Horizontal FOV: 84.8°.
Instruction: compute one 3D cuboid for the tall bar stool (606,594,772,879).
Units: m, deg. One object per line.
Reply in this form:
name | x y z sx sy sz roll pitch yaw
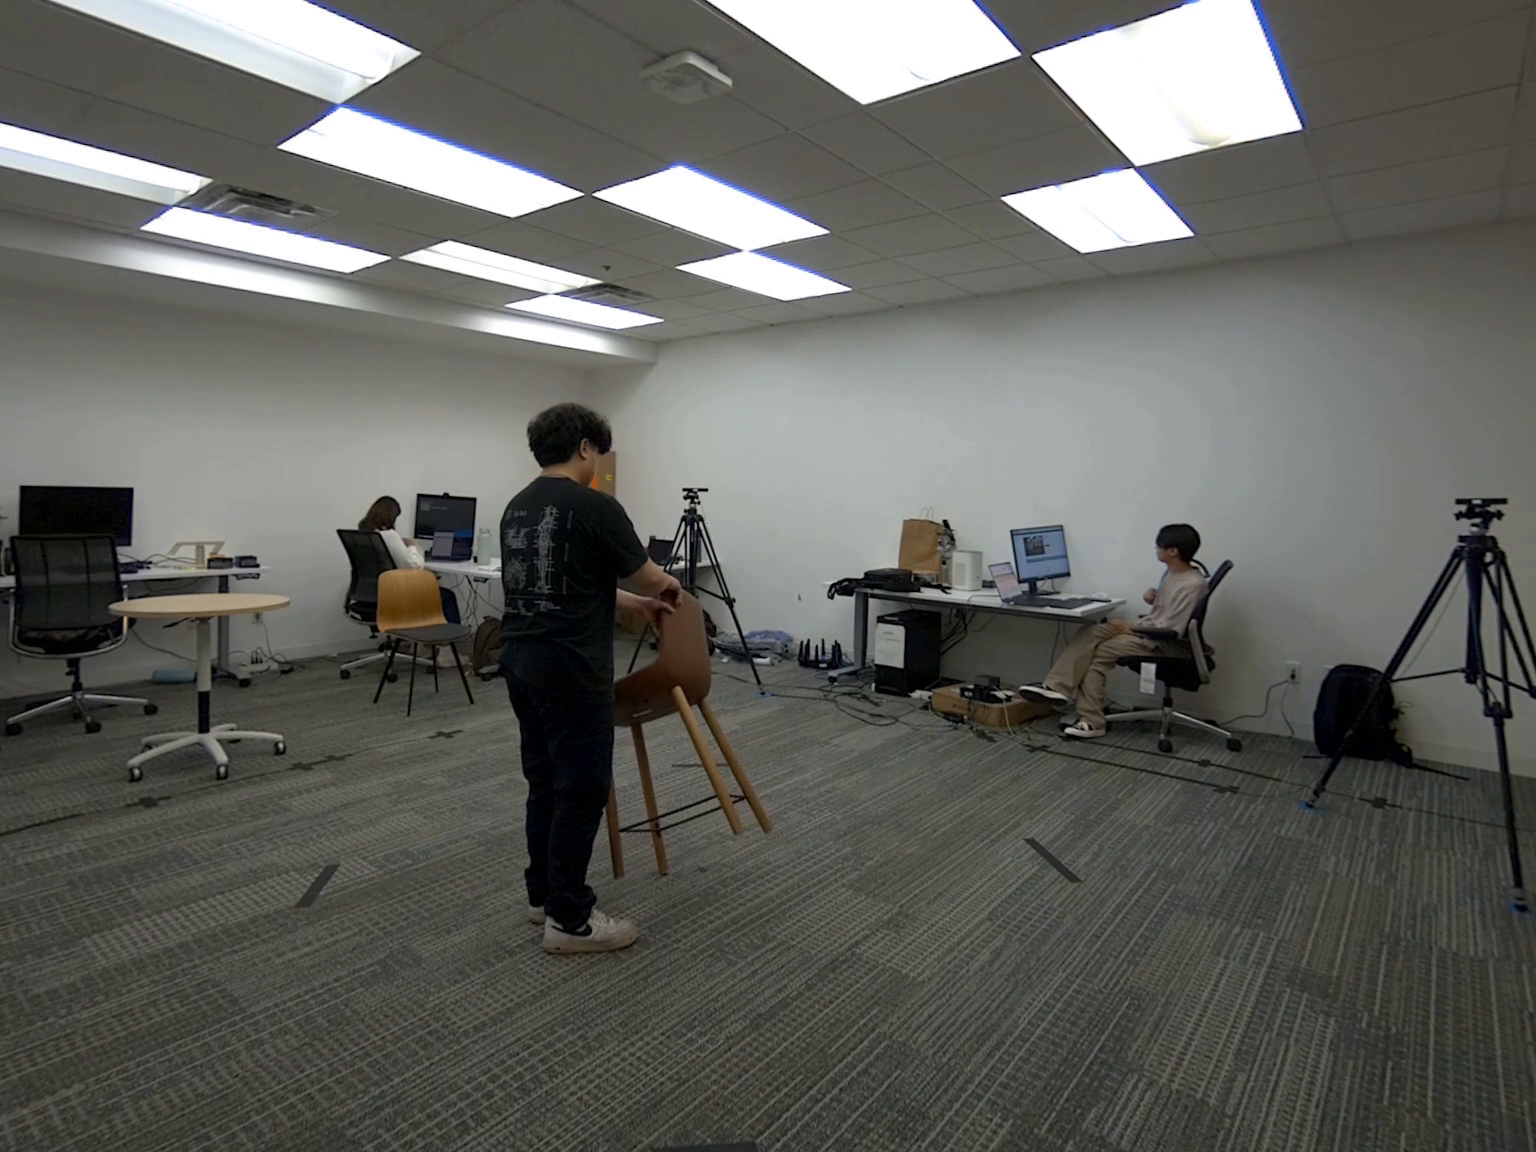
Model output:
tall bar stool | -0.383 0.551 3.029 0.471 0.913 0.442 -22 -22 10
